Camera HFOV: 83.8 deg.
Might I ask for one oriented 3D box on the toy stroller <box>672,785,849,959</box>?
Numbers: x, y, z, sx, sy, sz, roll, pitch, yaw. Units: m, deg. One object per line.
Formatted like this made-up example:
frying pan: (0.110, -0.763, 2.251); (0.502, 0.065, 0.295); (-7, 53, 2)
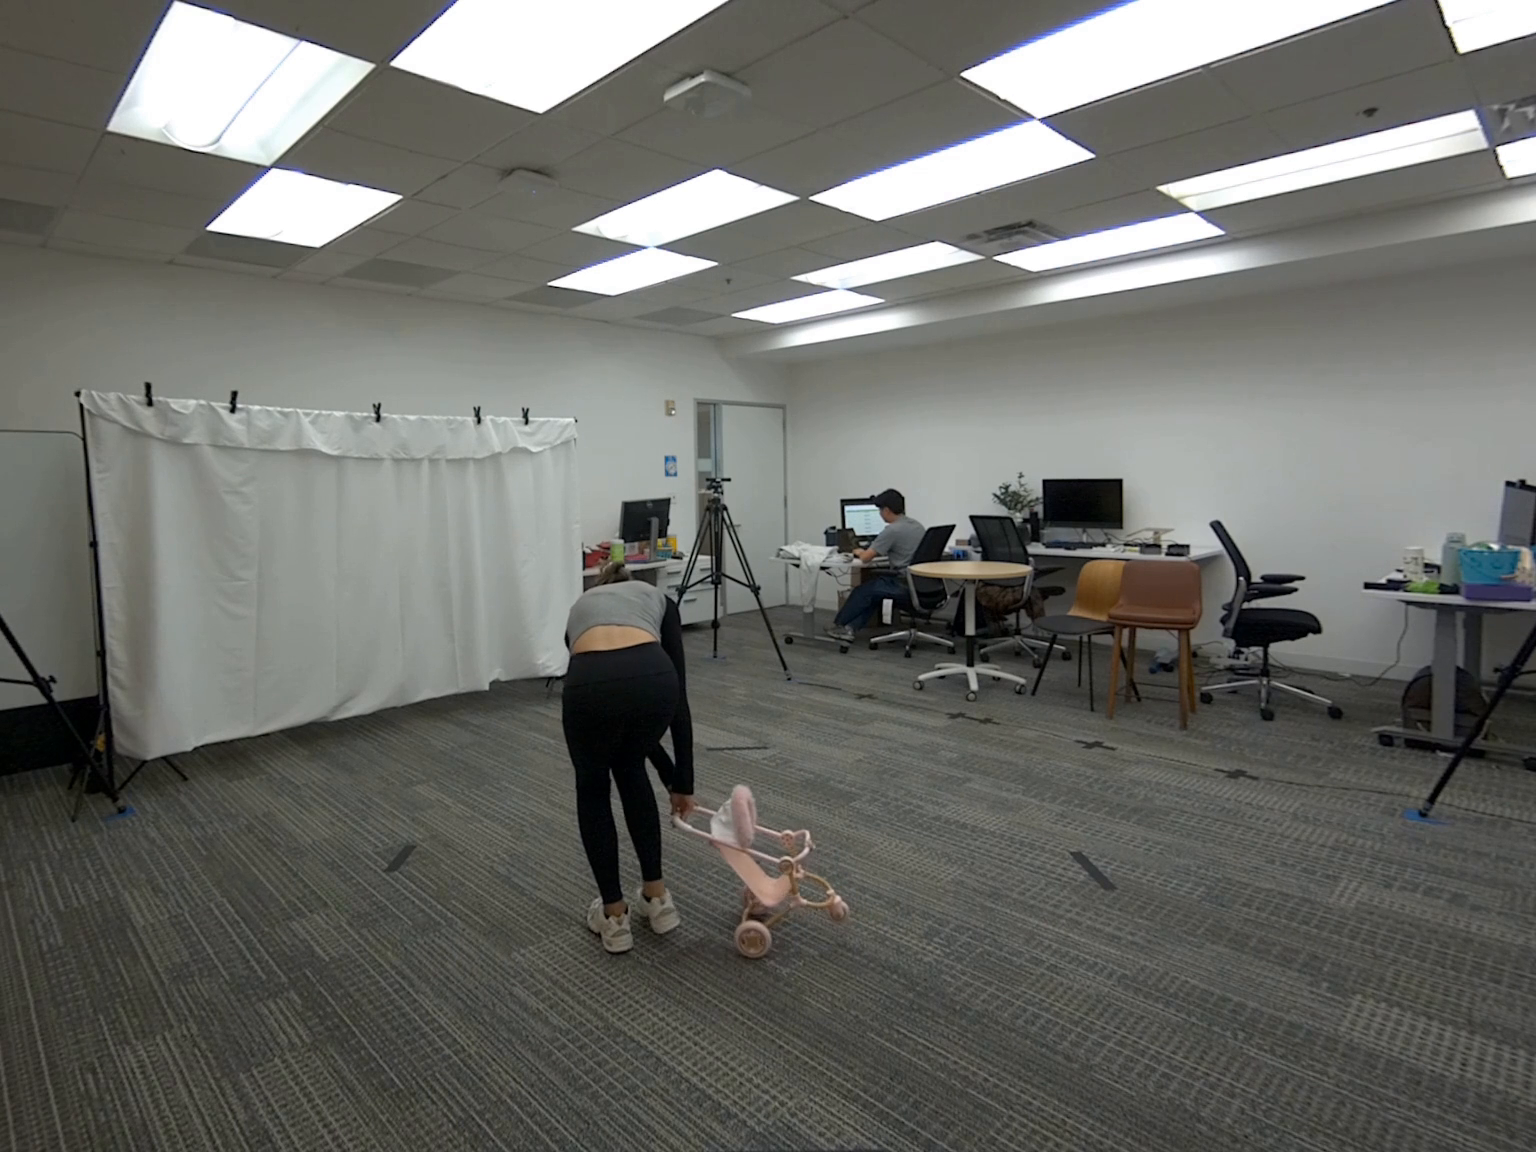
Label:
toy stroller: (-0.012, 0.867, 2.598); (0.343, 0.535, 0.280); (-27, 0, 11)
